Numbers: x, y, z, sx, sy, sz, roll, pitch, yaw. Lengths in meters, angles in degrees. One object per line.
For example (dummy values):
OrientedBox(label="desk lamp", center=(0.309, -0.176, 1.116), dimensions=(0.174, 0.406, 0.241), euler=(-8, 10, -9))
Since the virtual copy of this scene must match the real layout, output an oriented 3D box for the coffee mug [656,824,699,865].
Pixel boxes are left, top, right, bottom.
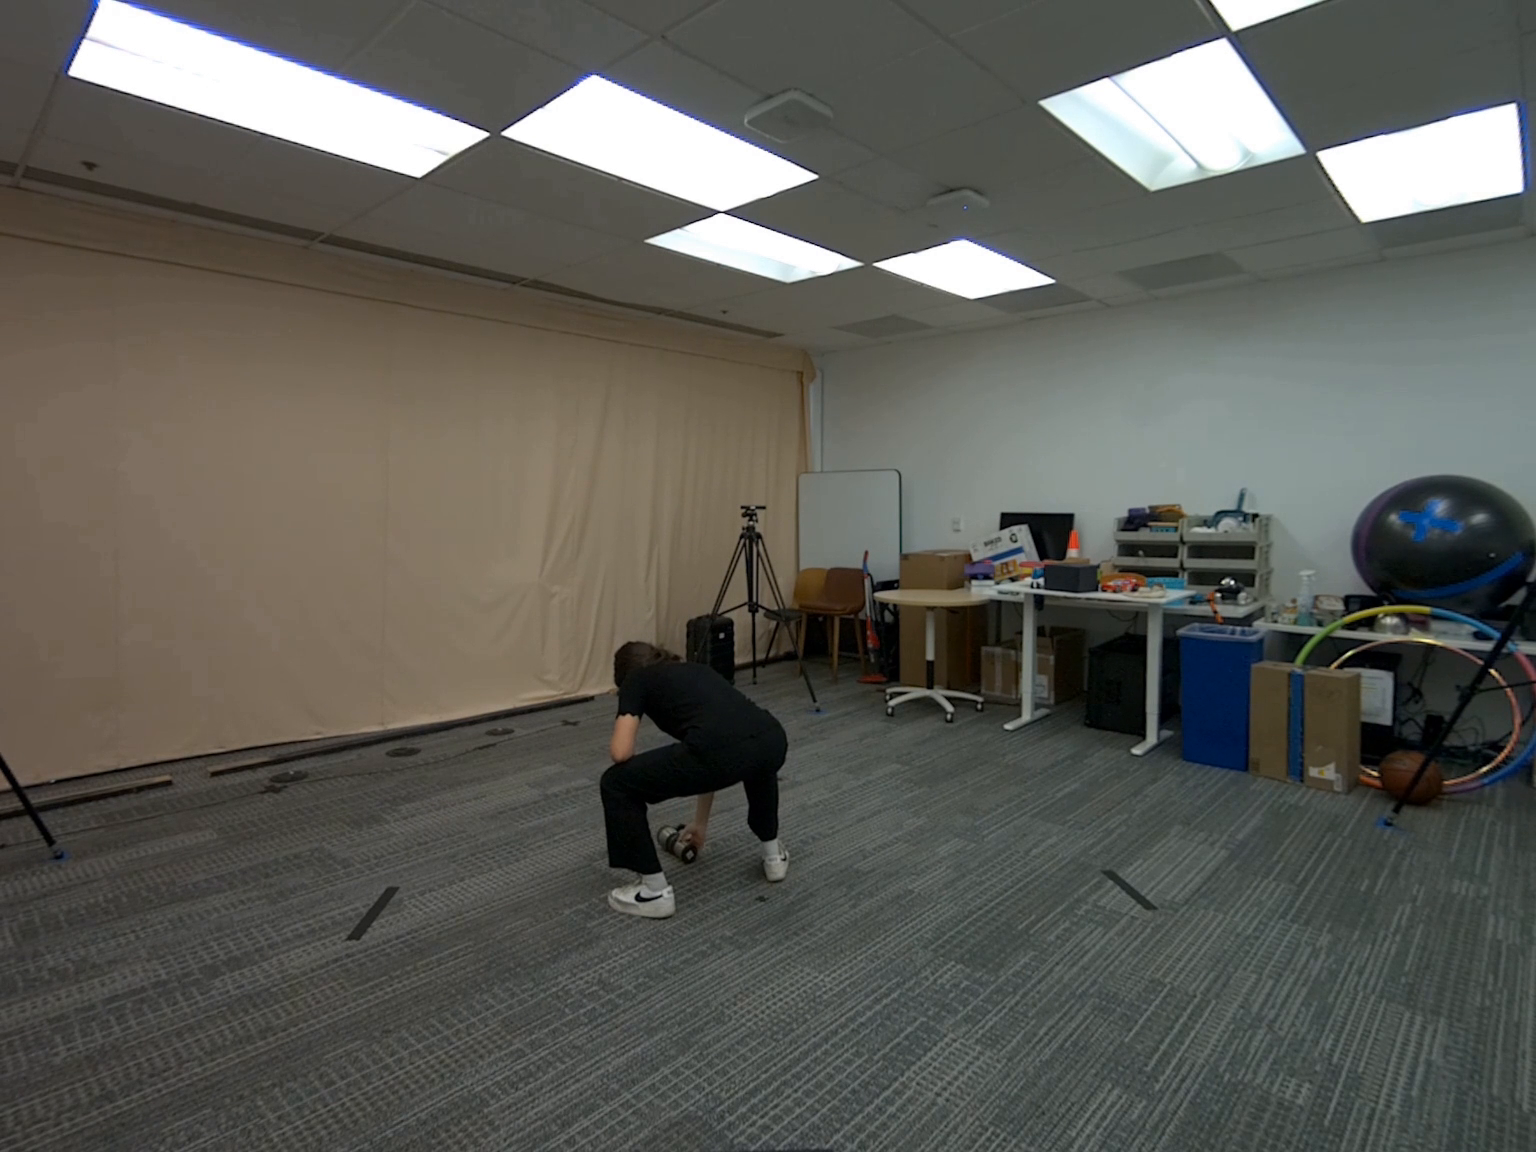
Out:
OrientedBox(label="coffee mug", center=(-0.356, 1.063, 3.370), dimensions=(0.120, 0.086, 0.209), euler=(-35, 22, -25))
